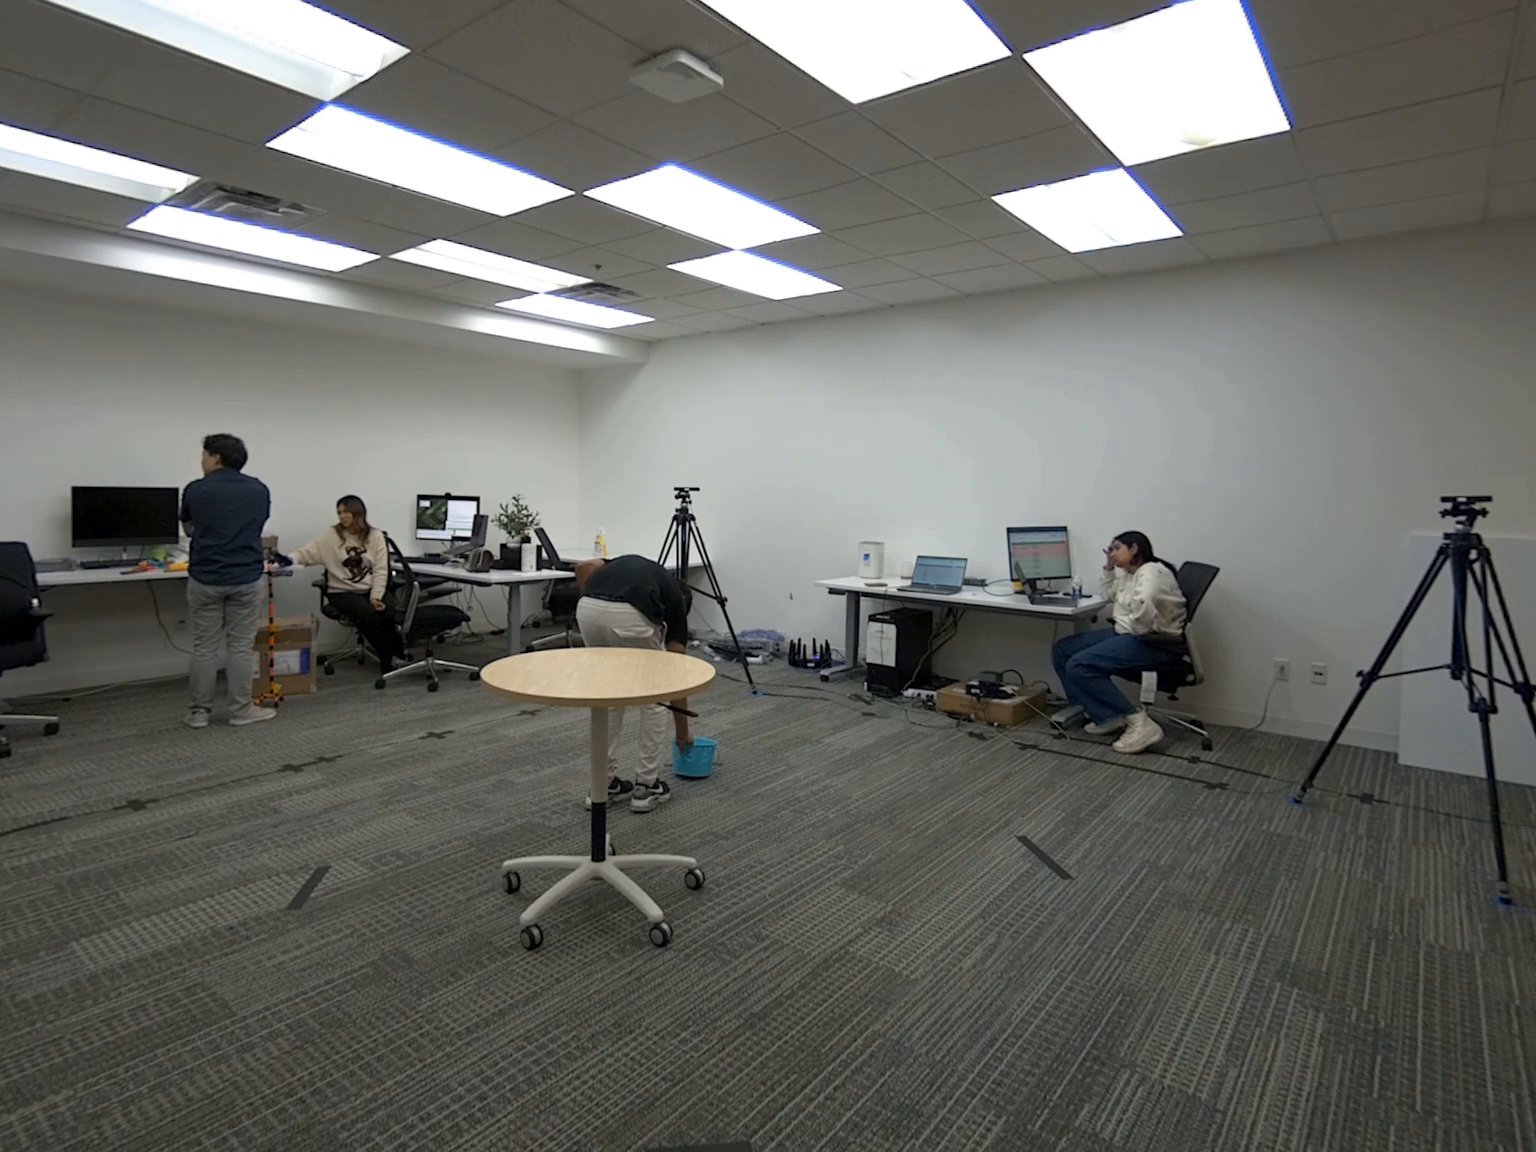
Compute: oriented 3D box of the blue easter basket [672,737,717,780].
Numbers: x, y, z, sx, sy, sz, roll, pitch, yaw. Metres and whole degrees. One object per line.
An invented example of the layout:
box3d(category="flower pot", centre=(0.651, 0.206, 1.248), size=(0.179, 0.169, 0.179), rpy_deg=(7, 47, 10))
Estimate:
box3d(category="blue easter basket", centre=(-0.372, 0.873, 4.143), size=(0.243, 0.156, 0.243), rpy_deg=(4, -2, -2))
